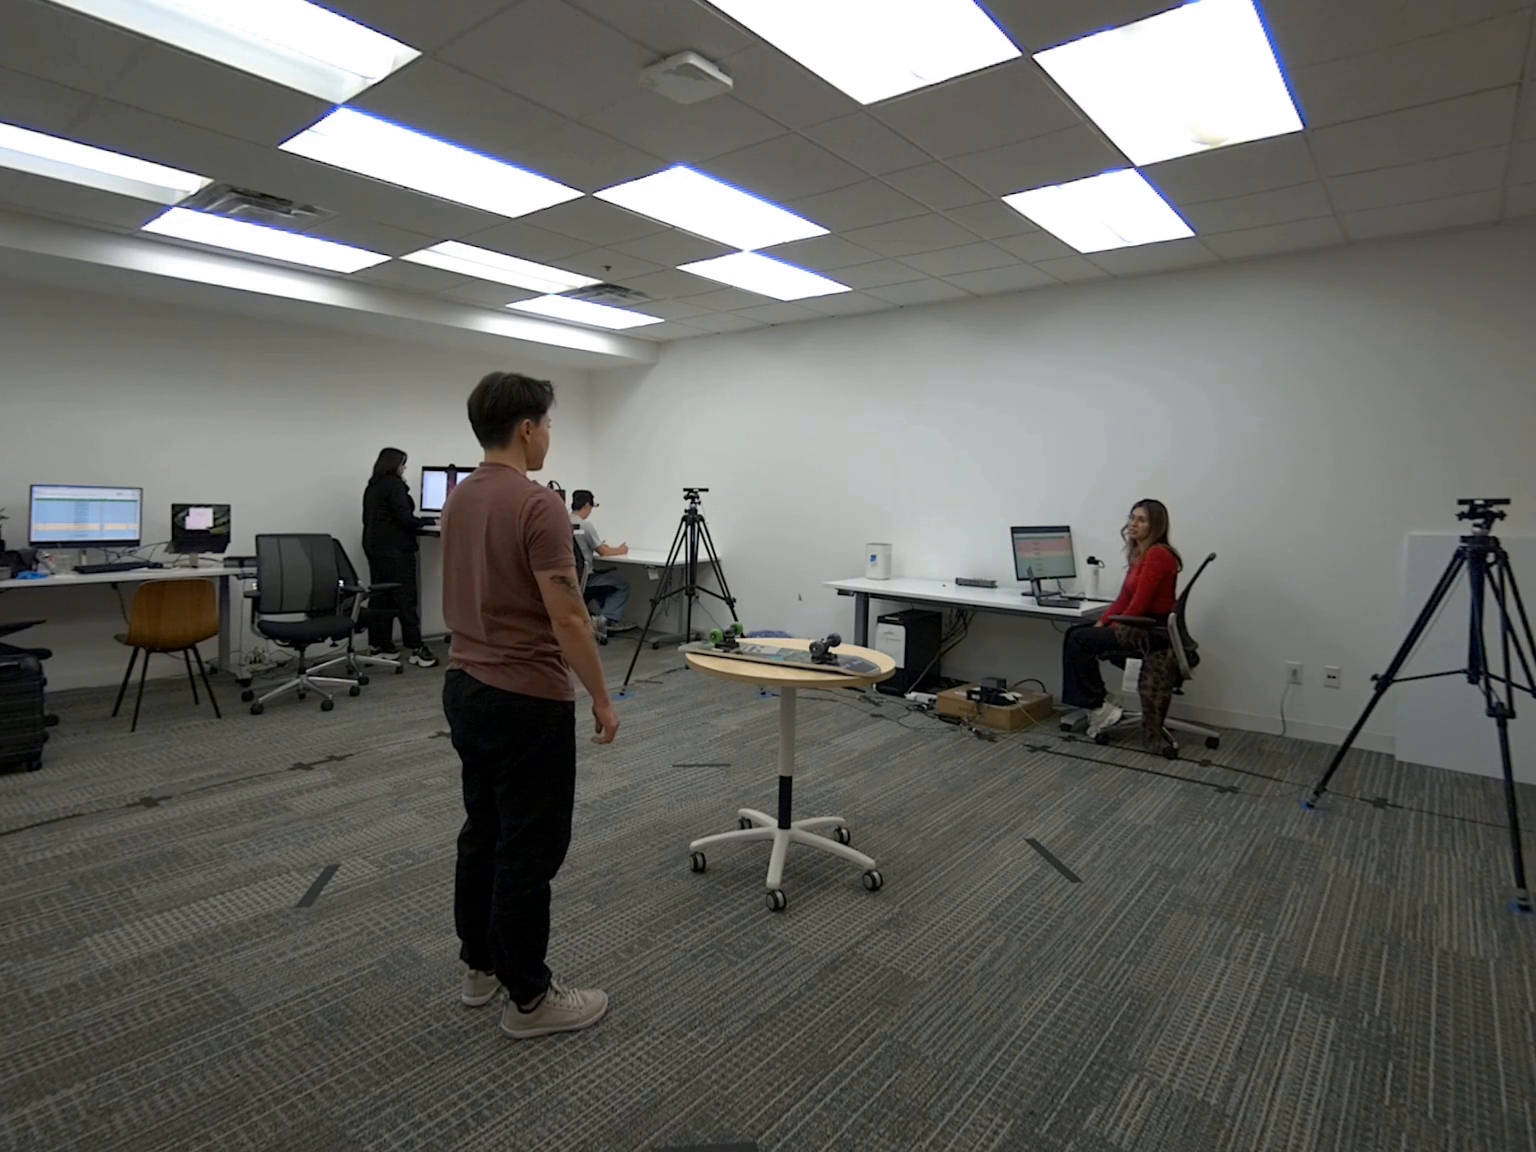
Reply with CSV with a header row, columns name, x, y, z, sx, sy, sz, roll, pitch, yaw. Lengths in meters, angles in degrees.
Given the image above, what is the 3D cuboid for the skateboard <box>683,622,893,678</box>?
name,x,y,z,sx,sy,sz,roll,pitch,yaw
skateboard,0.013,0.251,3.051,0.809,0.109,0.189,5,9,30
